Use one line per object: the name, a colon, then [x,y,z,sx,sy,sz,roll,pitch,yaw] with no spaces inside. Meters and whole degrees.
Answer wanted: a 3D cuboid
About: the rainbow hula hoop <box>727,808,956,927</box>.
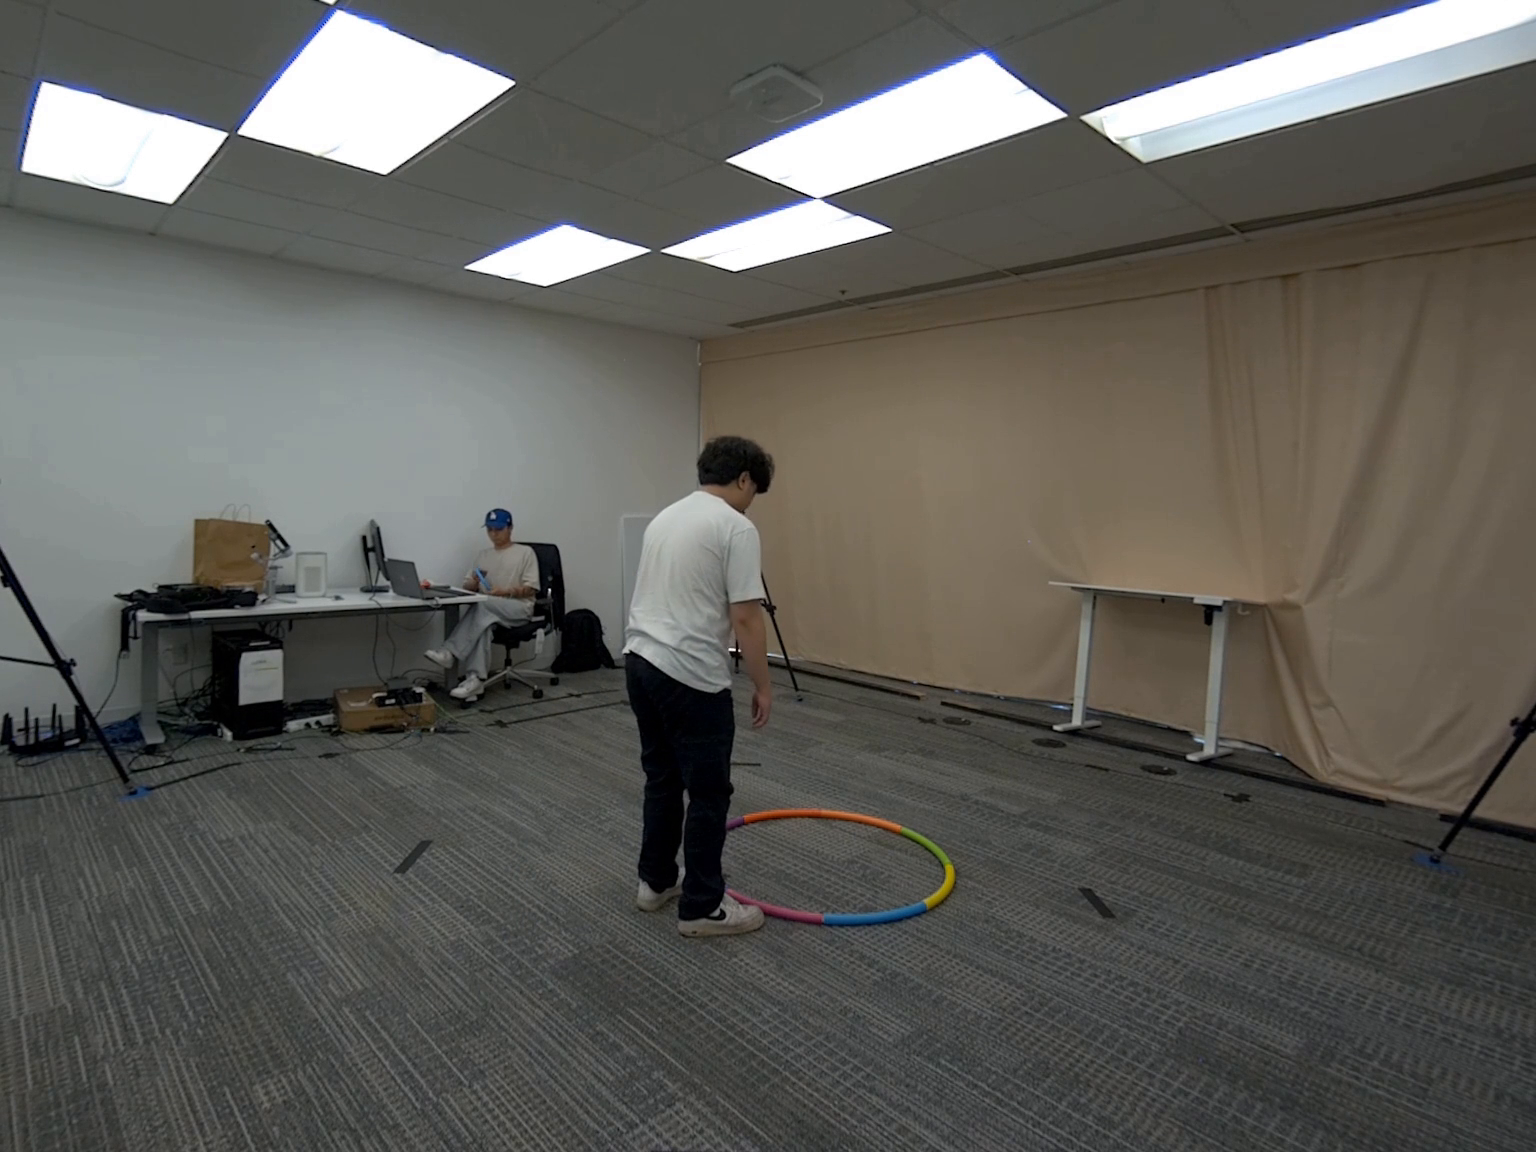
rainbow hula hoop: [0.204,1.078,3.241,0.985,0.051,0.989,1,5,-1]
